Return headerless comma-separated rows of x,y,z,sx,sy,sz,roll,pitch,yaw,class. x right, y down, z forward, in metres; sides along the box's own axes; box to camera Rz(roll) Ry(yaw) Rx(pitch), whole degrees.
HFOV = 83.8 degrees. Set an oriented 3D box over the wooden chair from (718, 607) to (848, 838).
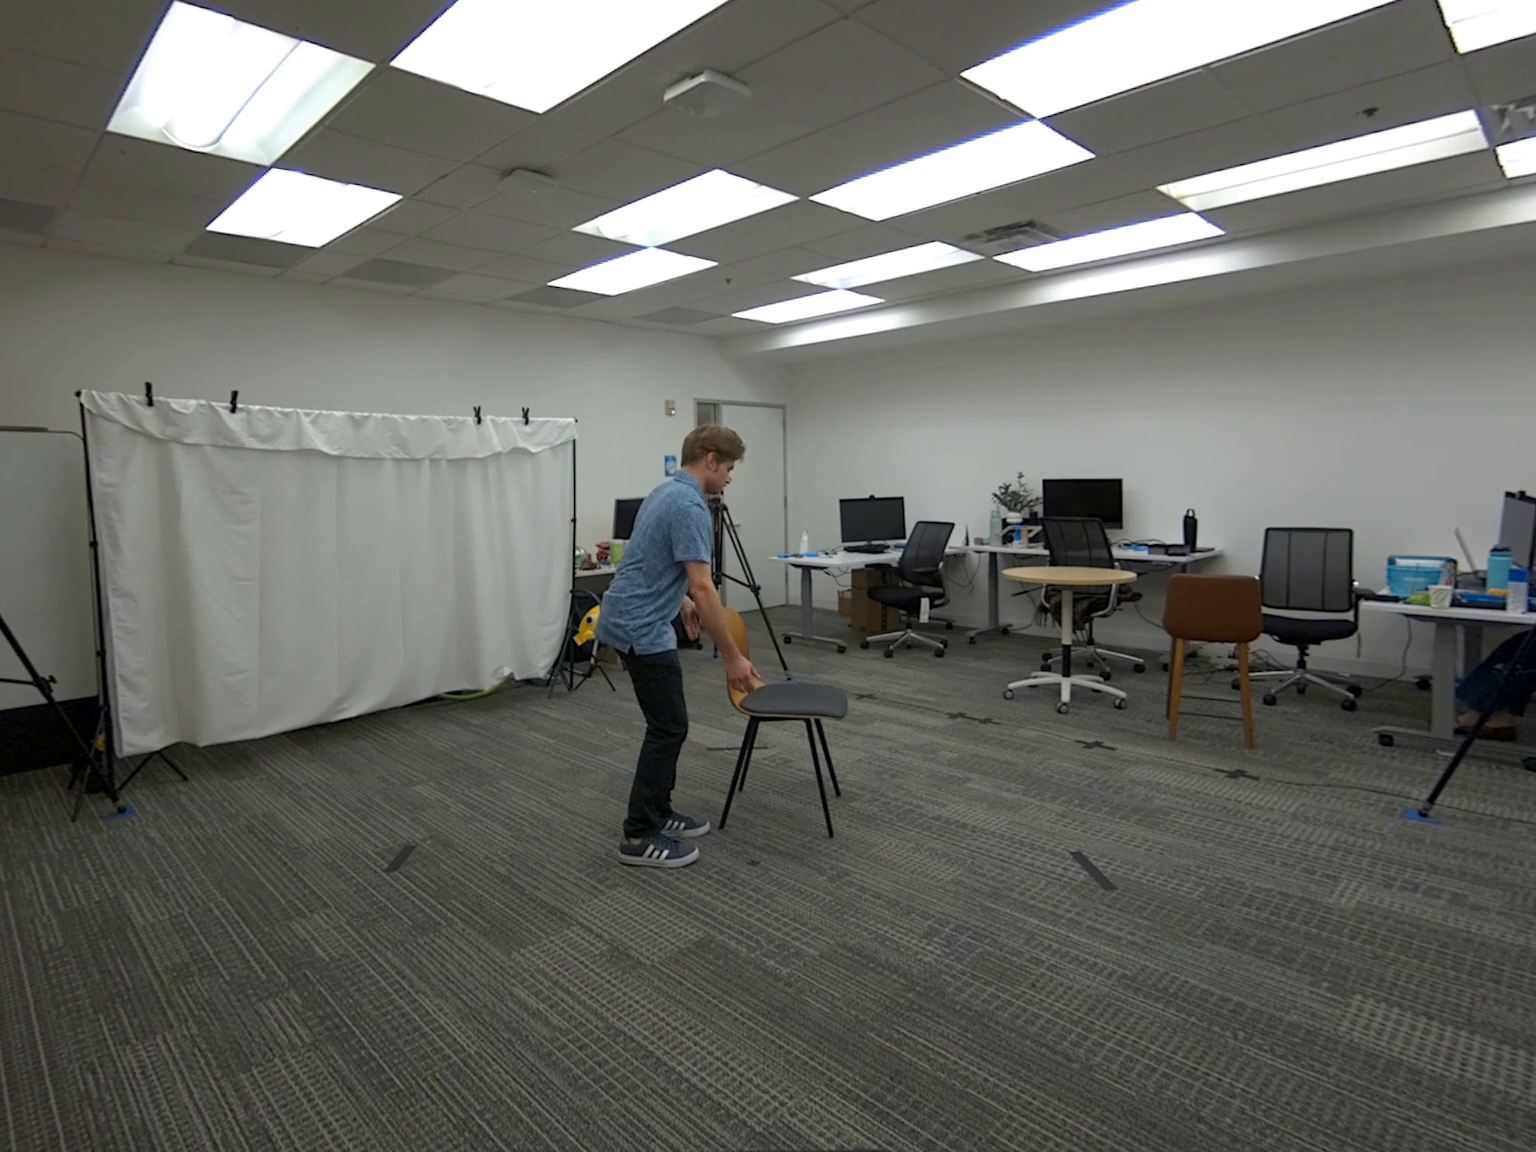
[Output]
0.068,0.562,3.542,0.529,0.875,0.474,-4,3,11,wooden chair
